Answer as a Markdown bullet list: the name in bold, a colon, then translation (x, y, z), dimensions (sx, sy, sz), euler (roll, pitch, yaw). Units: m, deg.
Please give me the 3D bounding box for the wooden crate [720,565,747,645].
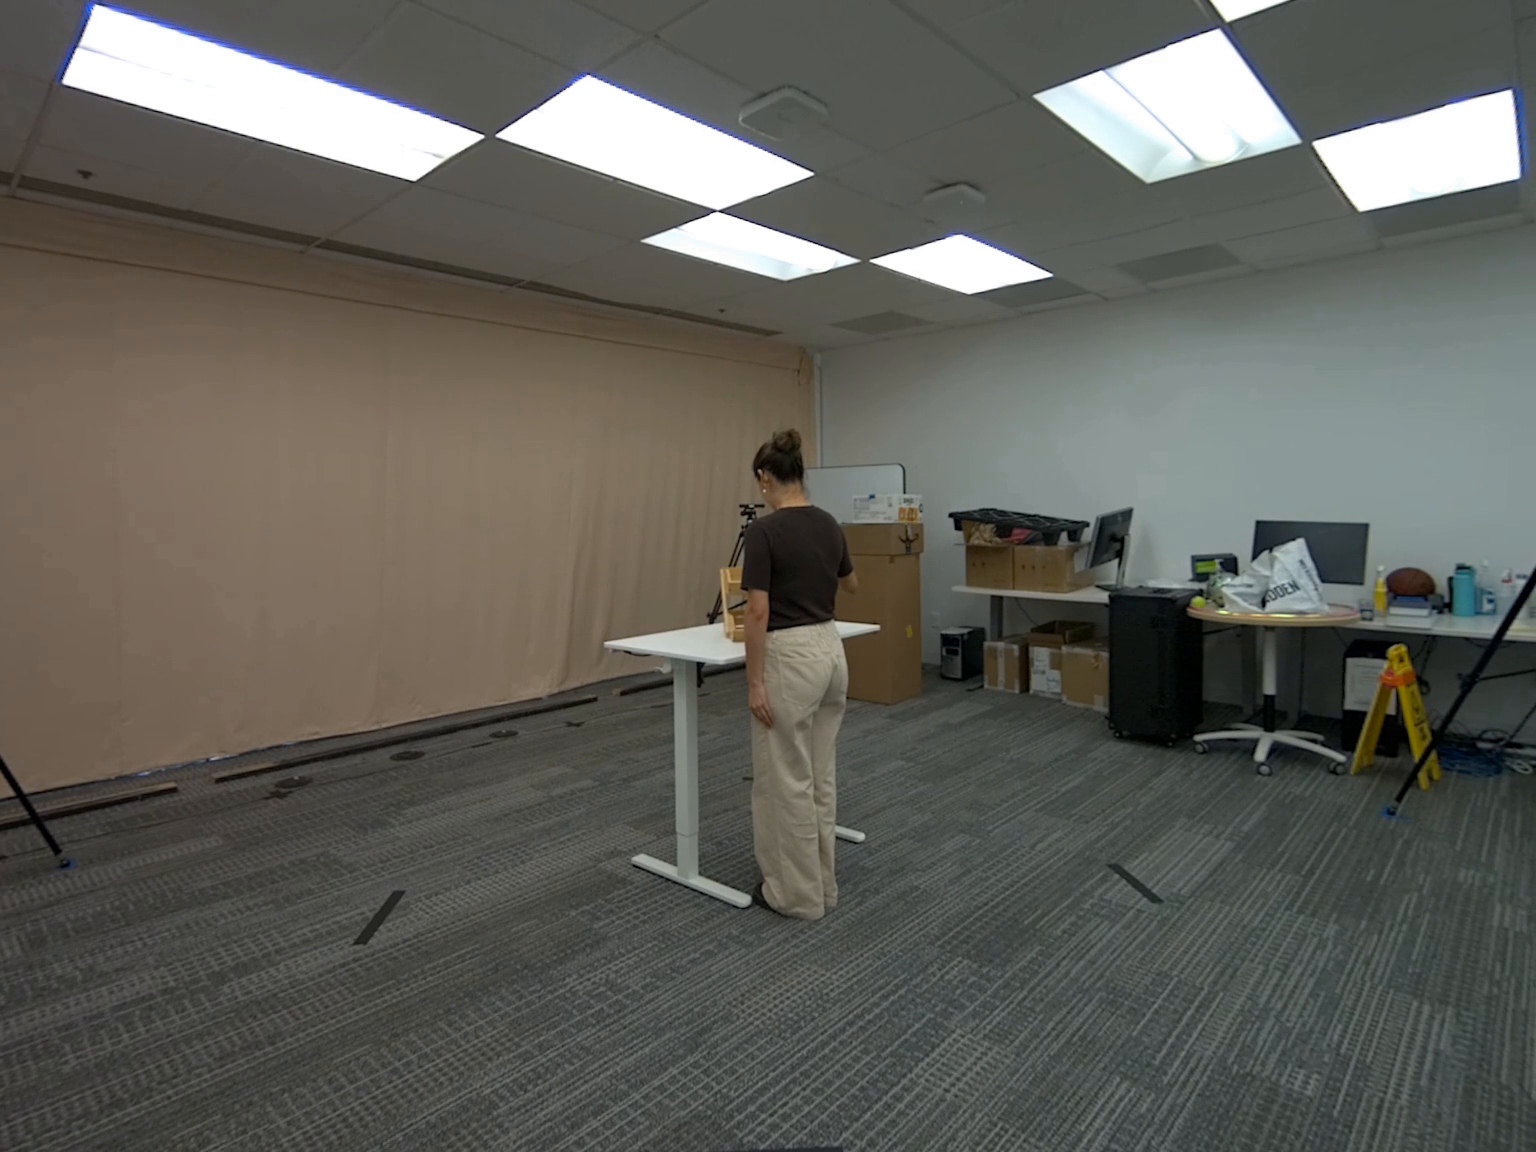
- **wooden crate**: translation (-0.005, 0.101, 3.281), dimensions (0.321, 0.273, 0.305), euler (0, 3, -9)
